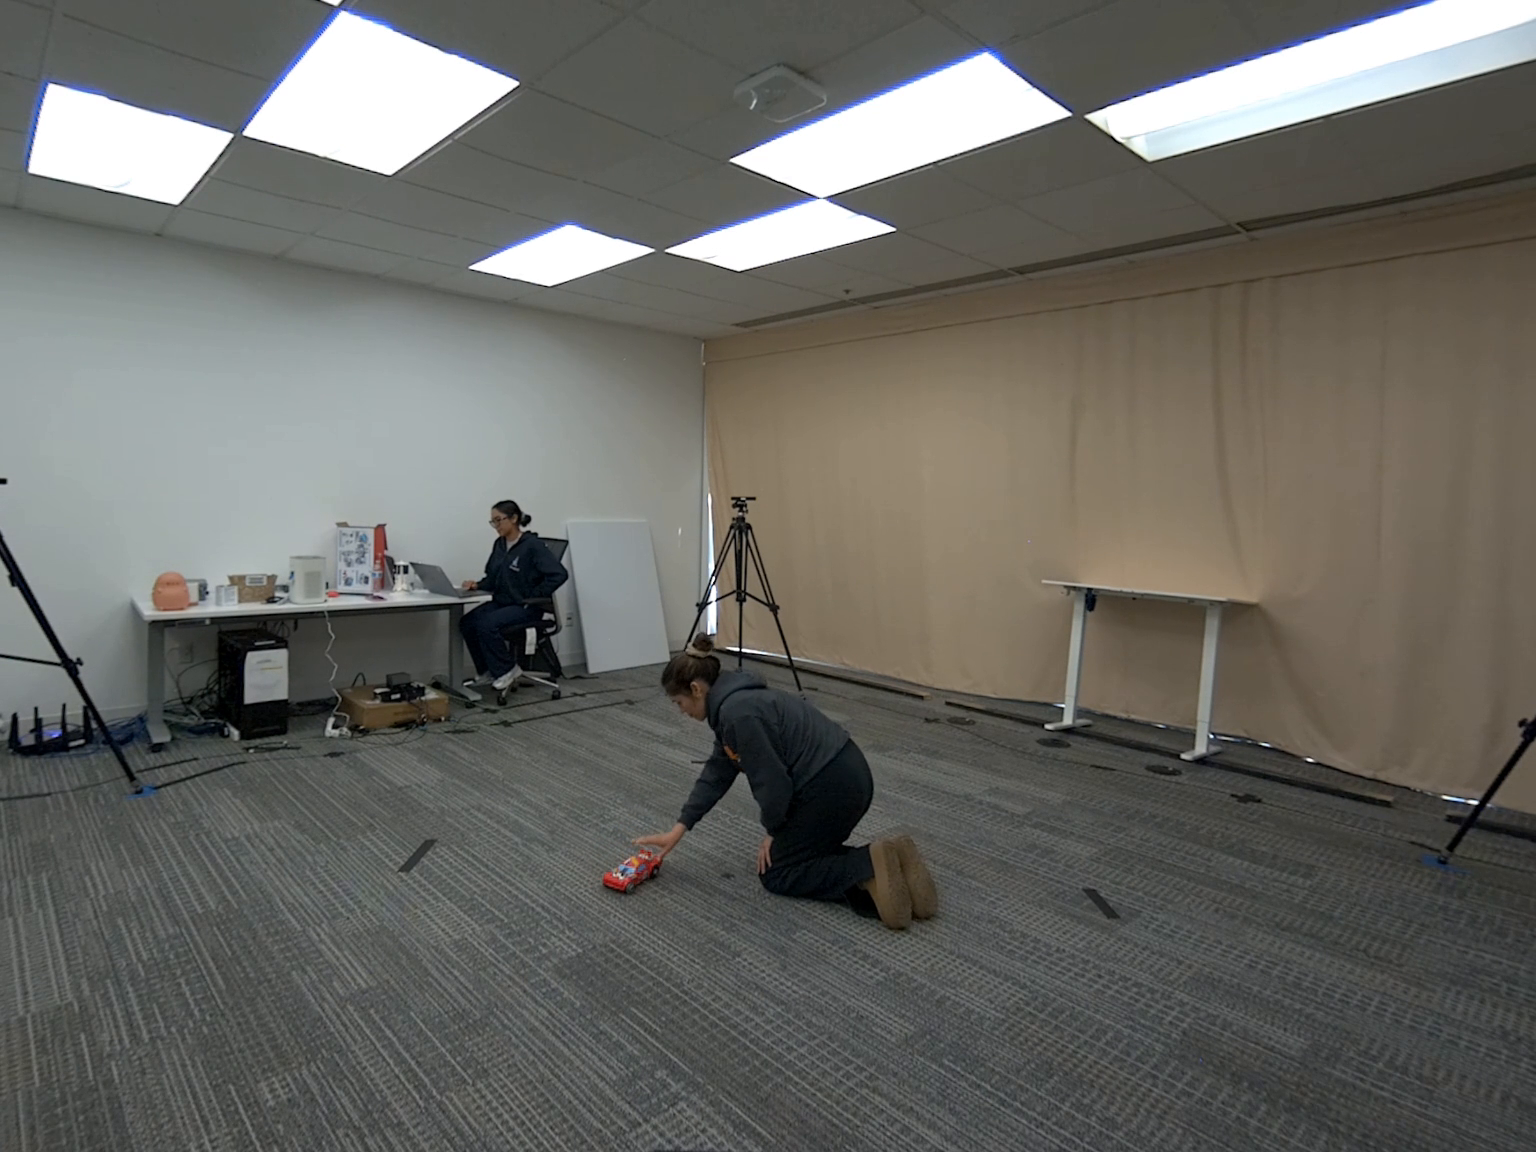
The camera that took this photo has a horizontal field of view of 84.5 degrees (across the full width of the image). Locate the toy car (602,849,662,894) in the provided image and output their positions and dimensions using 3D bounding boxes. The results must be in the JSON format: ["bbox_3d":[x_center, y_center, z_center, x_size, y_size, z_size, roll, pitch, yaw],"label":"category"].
[{"bbox_3d":[-0.488,1.069,3.067,0.133,0.082,0.251,4,17,31],"label":"toy car"}]
